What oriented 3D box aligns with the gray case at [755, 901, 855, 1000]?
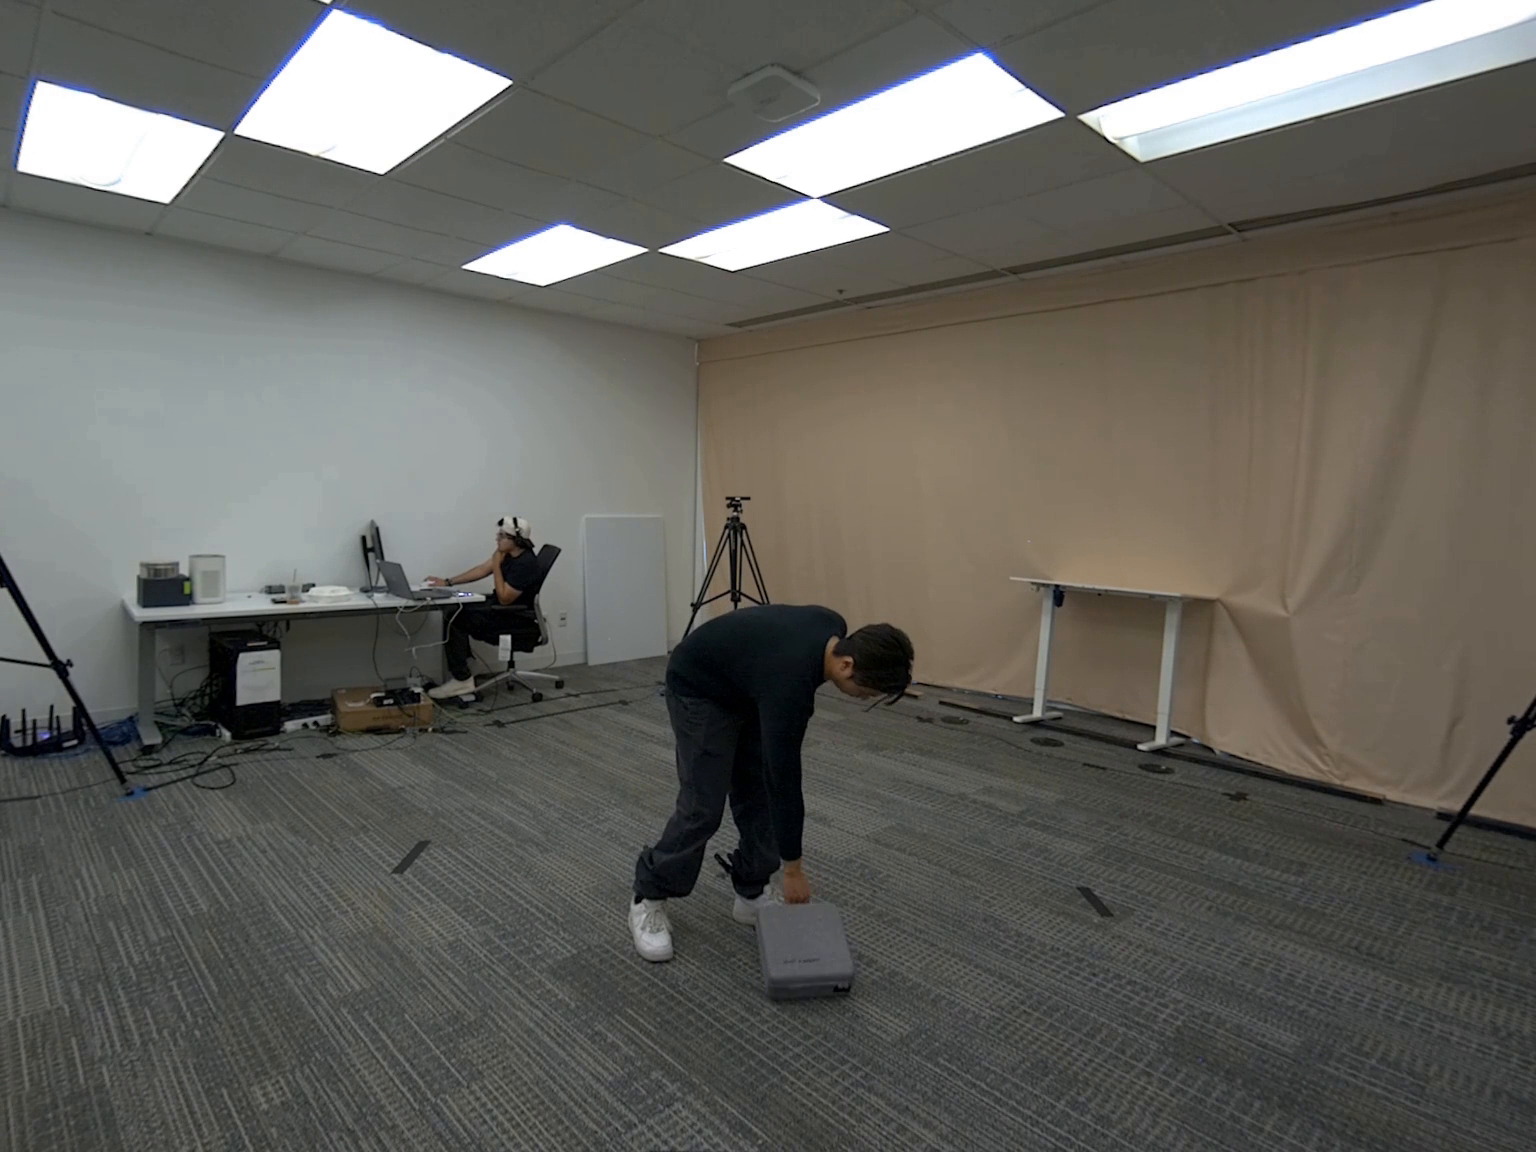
[{"bbox_3d":[0.101,1.090,2.424,0.256,0.103,0.266,2,27,-6],"label":"gray case"}]
